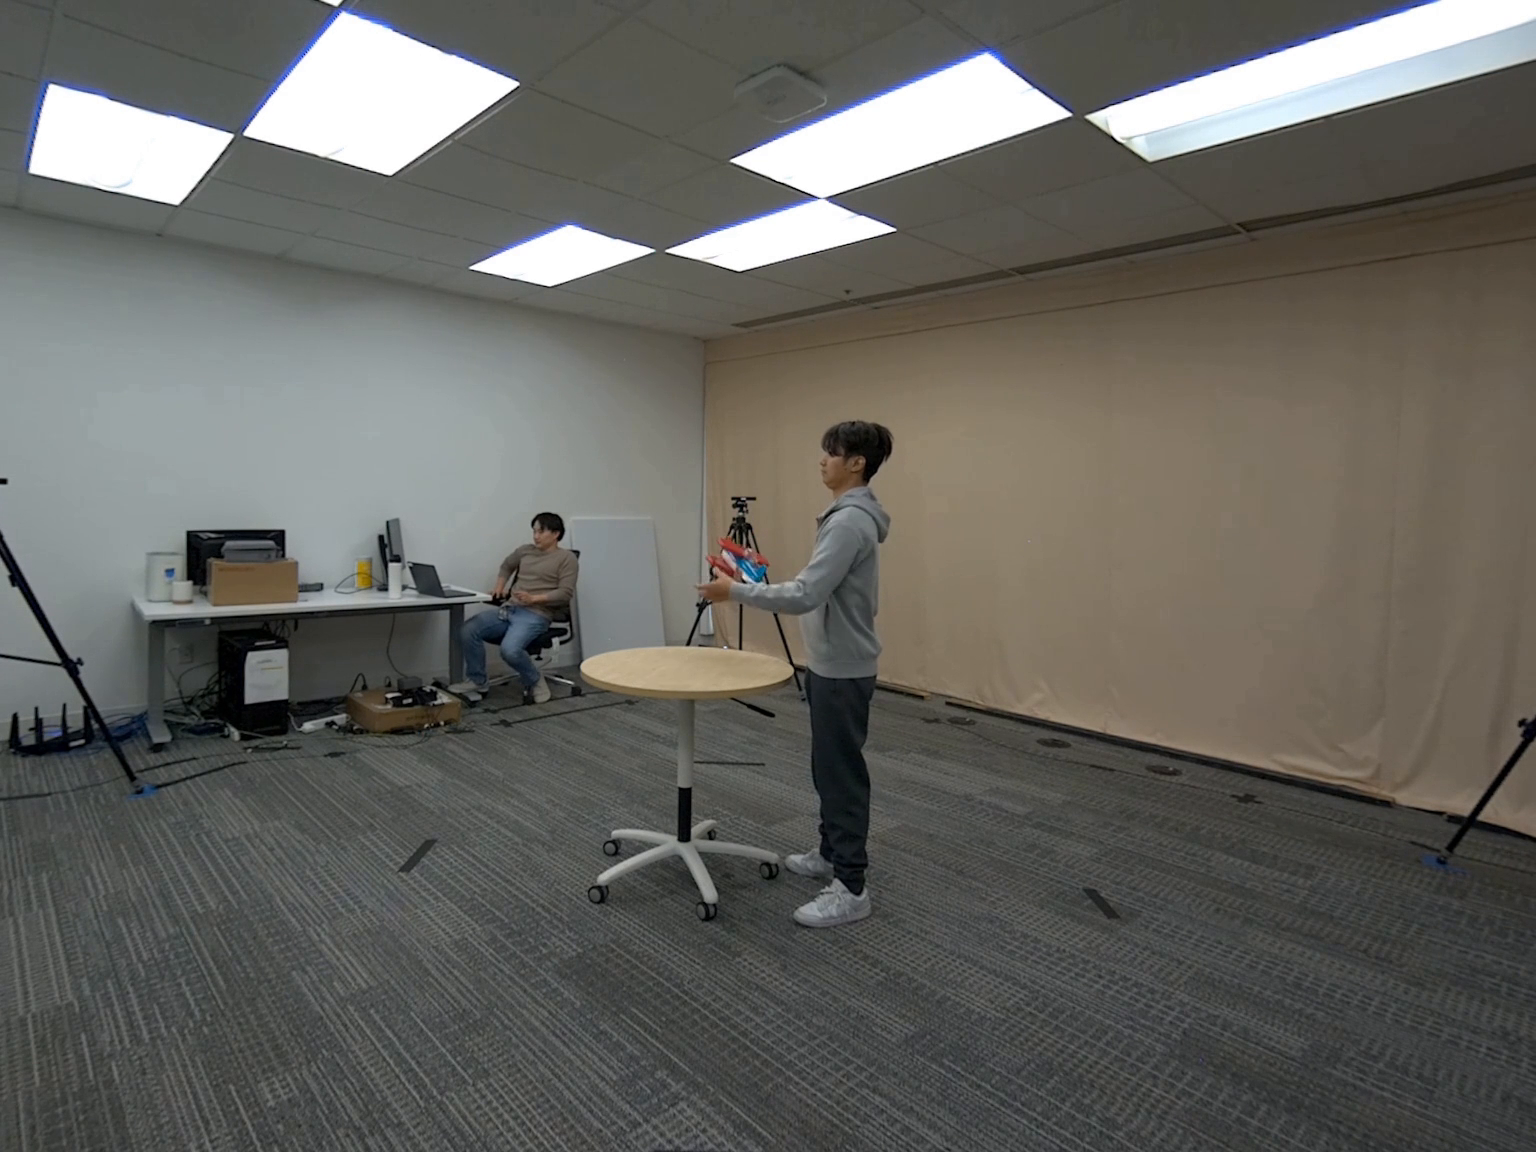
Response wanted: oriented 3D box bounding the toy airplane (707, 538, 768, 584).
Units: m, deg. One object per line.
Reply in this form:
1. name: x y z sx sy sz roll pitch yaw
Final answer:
1. toy airplane: -0.087 -0.032 3.212 0.265 0.156 0.245 24 0 23
